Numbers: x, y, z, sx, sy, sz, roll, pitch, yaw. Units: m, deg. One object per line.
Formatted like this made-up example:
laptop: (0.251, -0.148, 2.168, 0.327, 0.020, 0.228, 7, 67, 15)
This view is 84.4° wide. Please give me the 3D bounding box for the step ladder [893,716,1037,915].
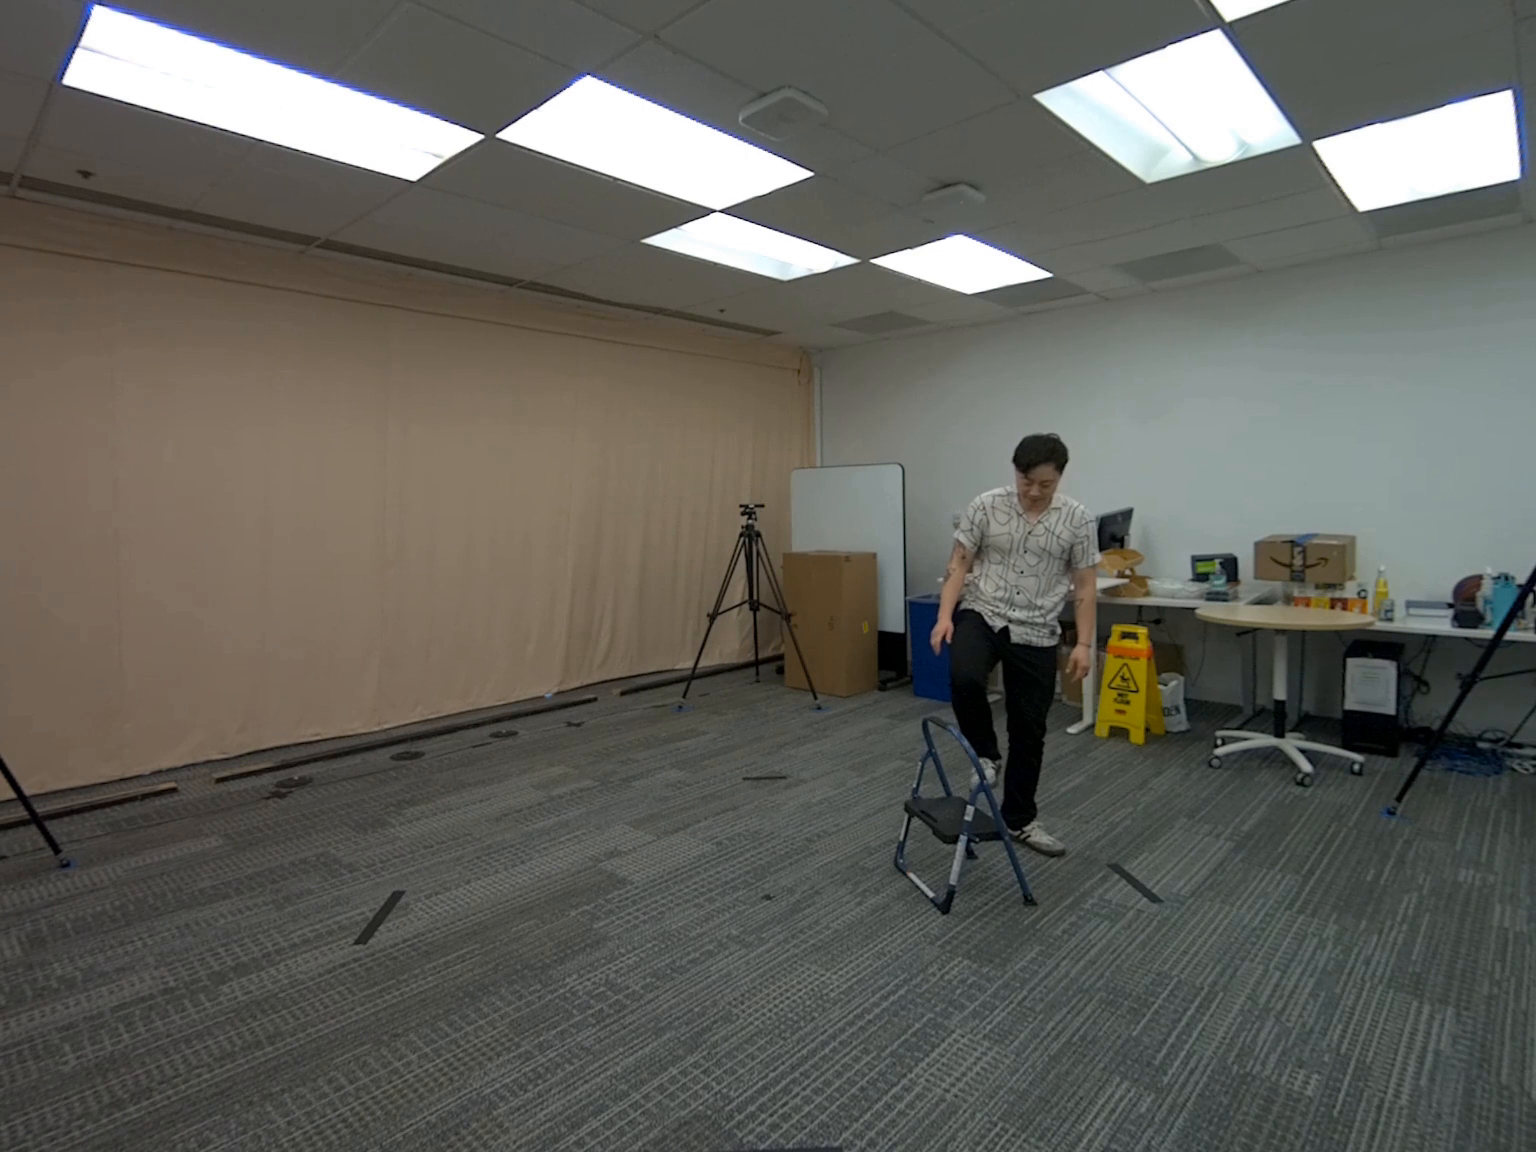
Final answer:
step ladder: (0.705, 0.821, 3.049, 0.344, 0.605, 0.438, -1, 3, -14)
